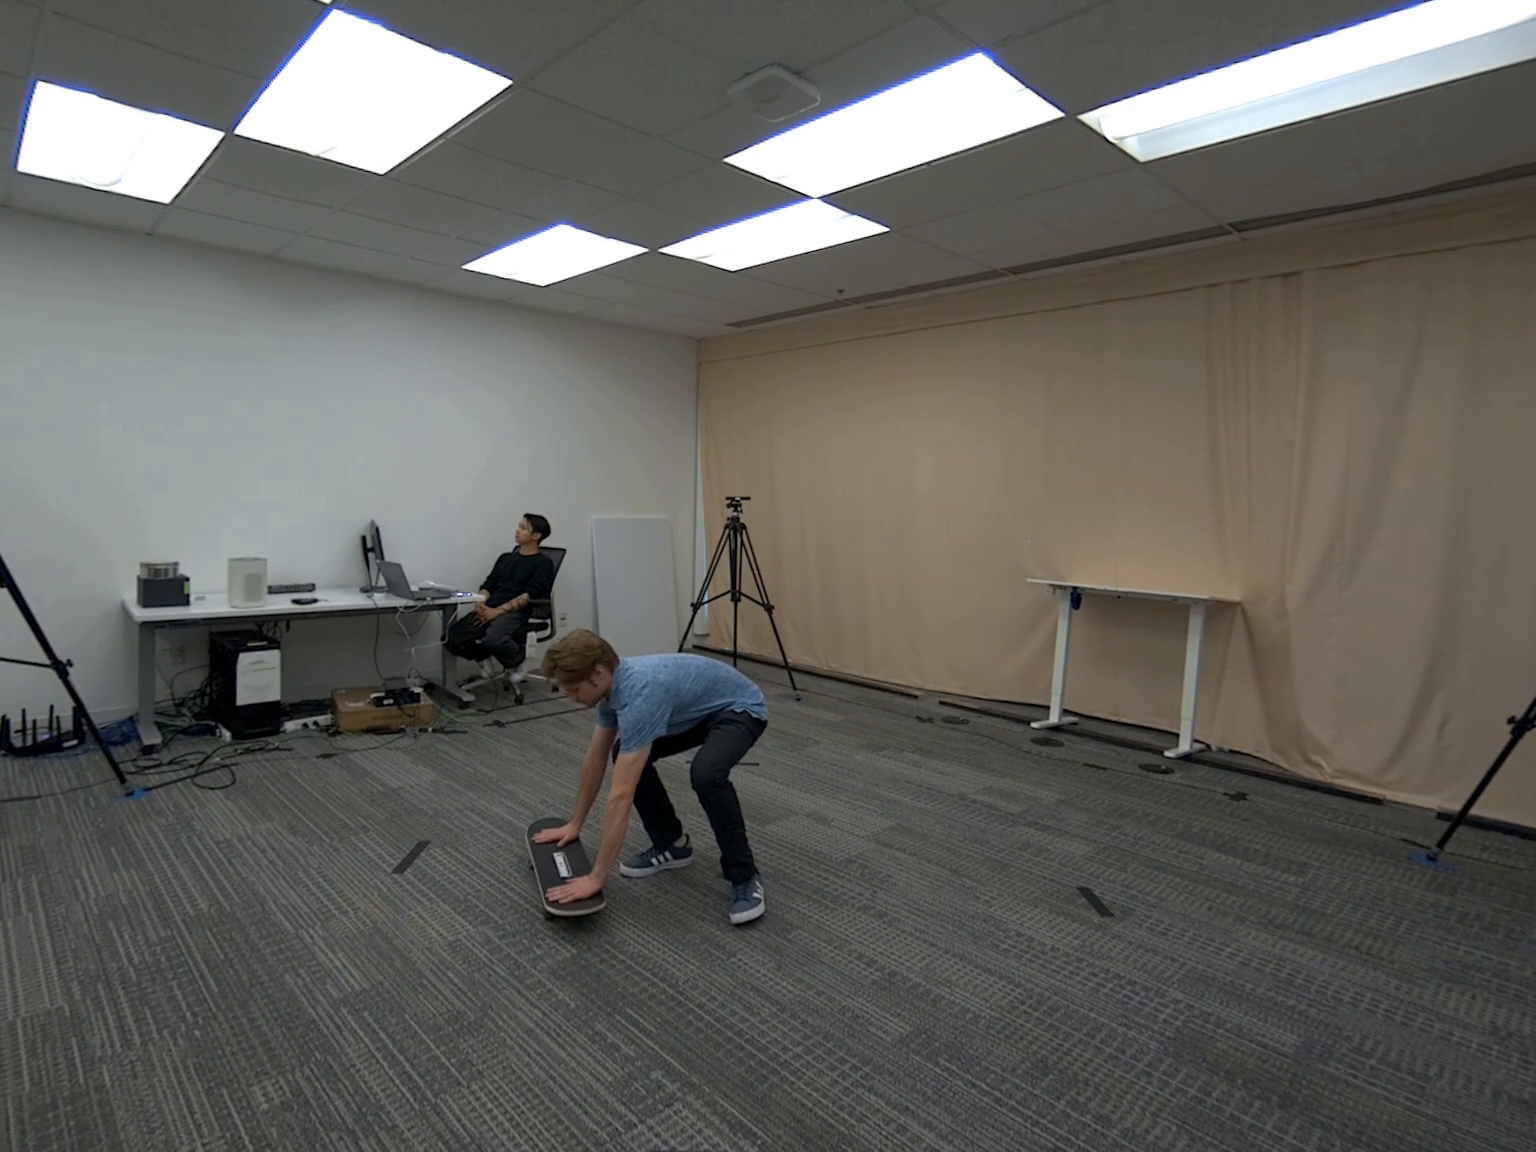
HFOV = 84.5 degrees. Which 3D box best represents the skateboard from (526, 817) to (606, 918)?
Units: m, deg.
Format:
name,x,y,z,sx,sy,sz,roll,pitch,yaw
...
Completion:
name,x,y,z,sx,sy,sz,roll,pitch,yaw
skateboard,-0.726,1.047,2.970,0.190,0.110,0.800,-2,7,-21
